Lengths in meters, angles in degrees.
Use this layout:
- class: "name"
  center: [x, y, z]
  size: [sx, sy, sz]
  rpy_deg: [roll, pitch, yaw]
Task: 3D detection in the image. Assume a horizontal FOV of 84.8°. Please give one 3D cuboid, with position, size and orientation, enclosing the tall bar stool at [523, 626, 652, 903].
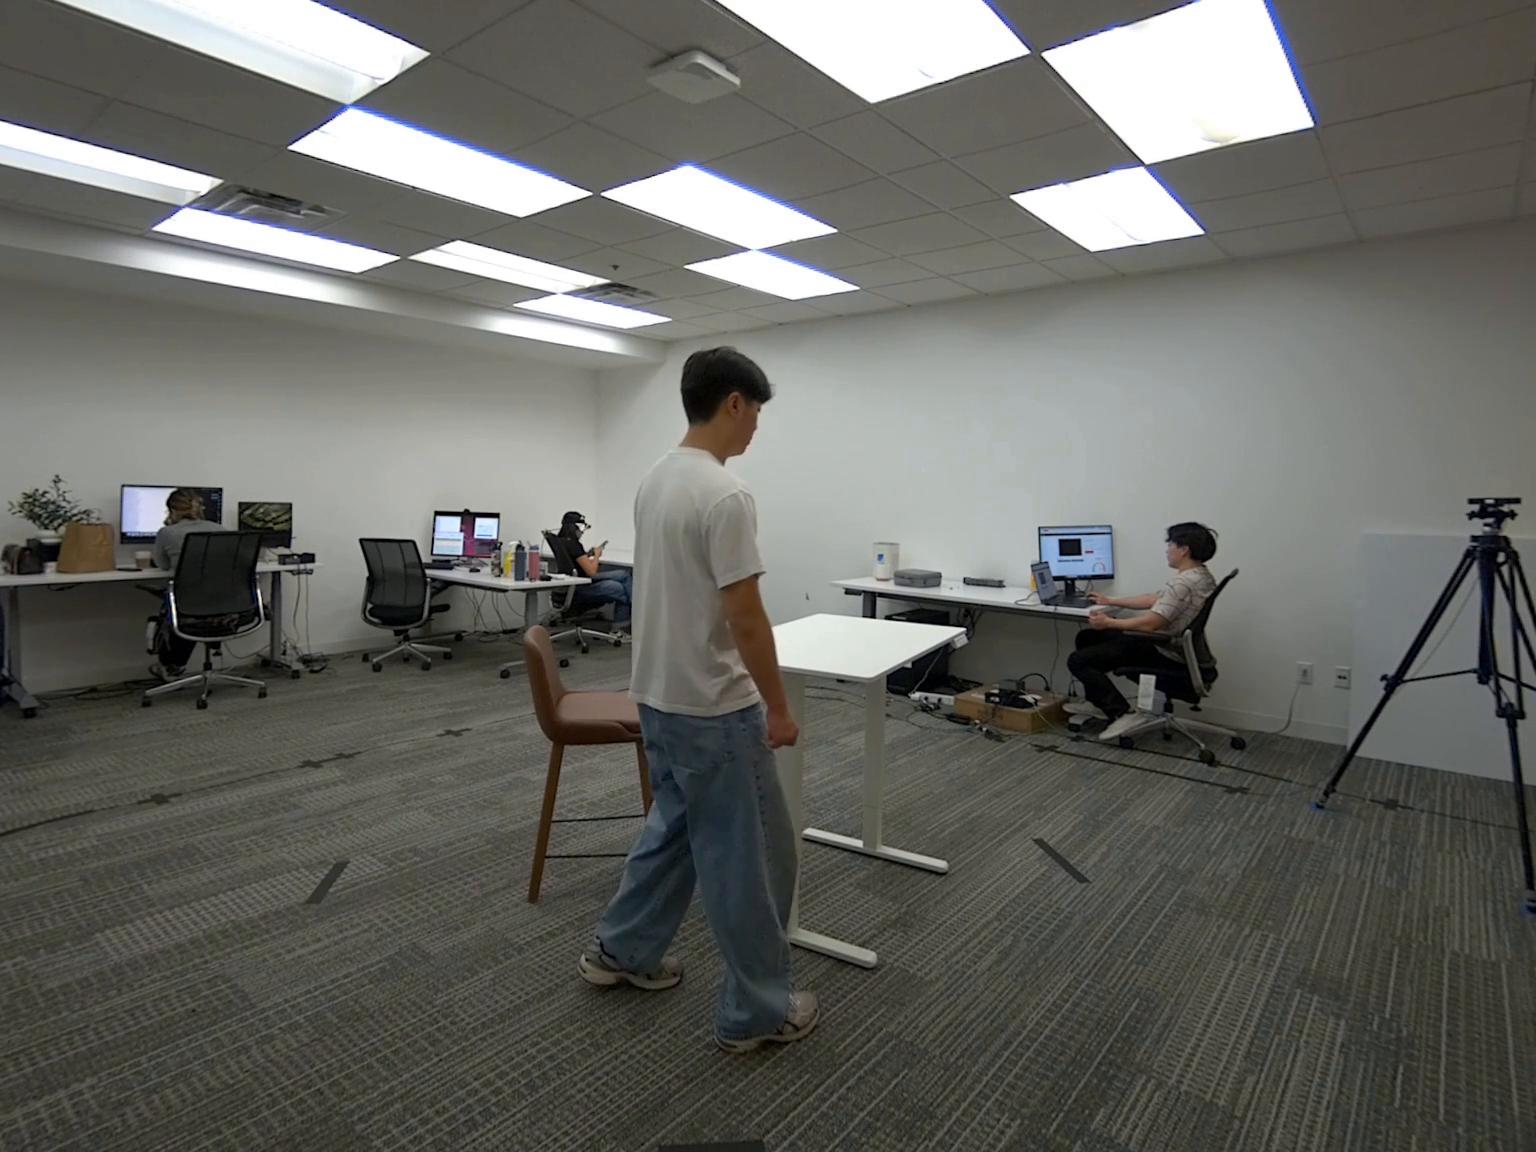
- class: "tall bar stool"
  center: [-0.625, 0.632, 3.024]
  size: [0.463, 0.887, 0.463]
  rpy_deg: [-1, 4, -10]
